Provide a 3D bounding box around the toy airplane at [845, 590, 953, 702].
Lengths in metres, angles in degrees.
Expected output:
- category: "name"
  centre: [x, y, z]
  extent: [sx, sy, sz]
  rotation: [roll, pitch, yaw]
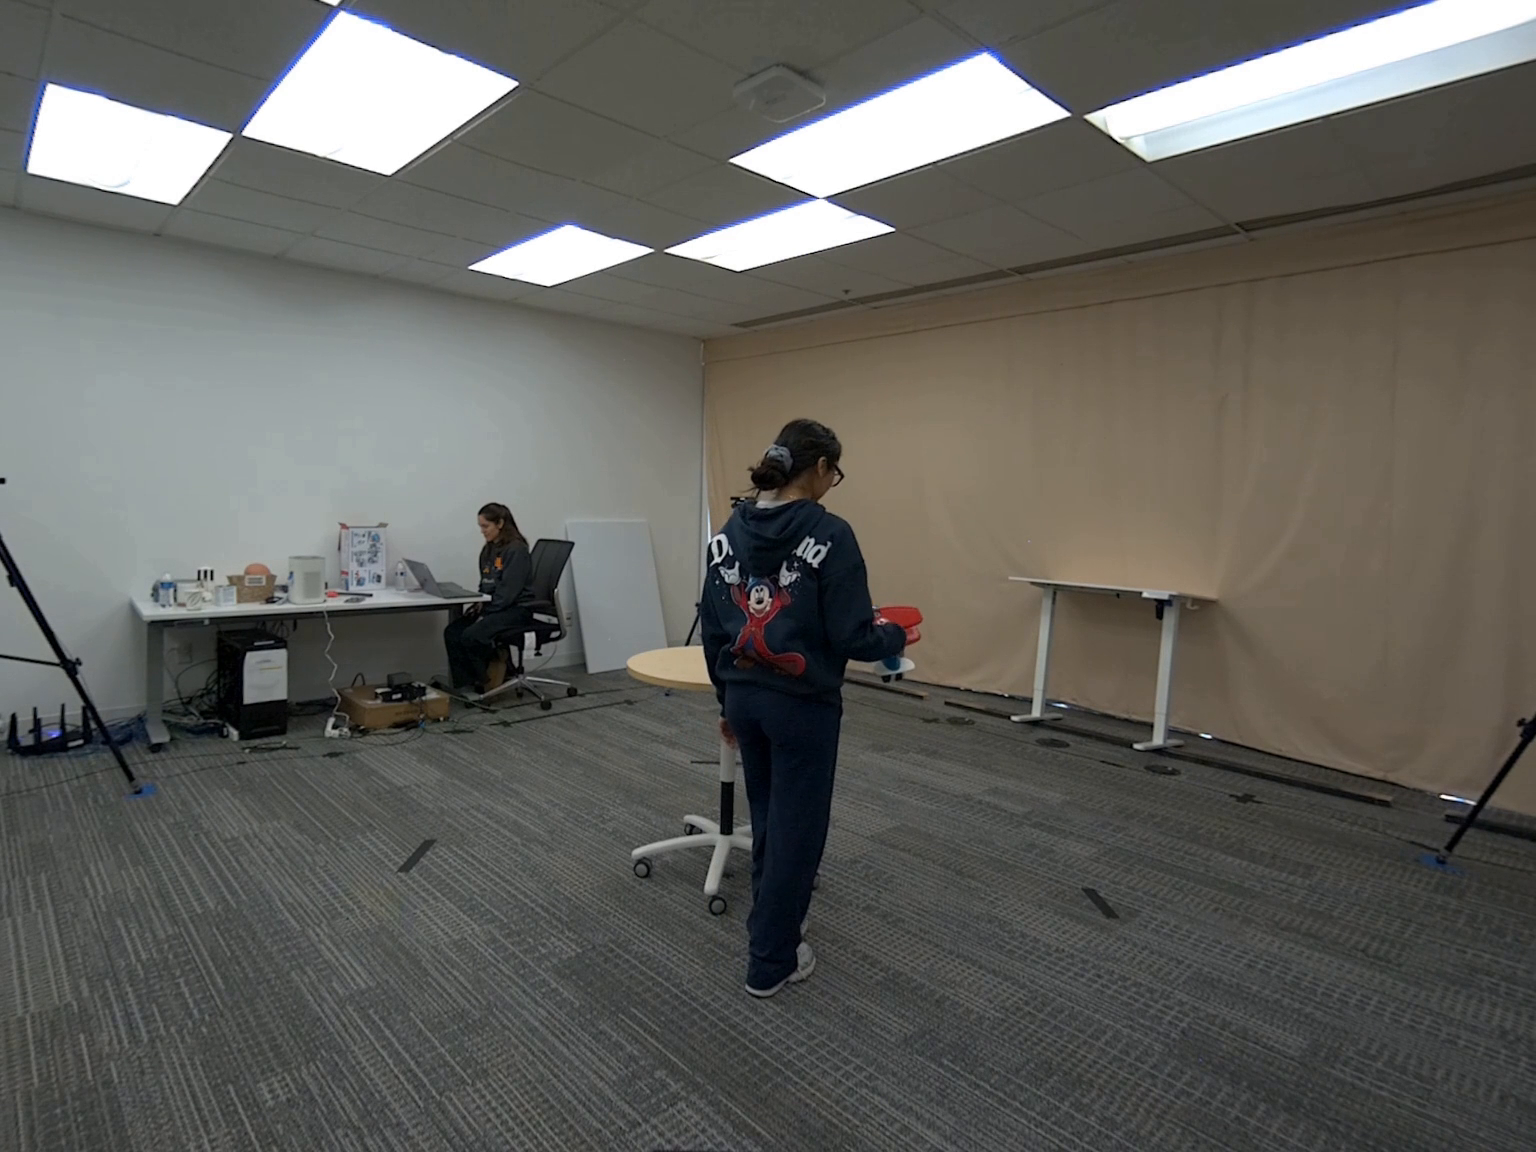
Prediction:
- category: "toy airplane"
  centre: [0.354, 0.198, 2.506]
  extent: [0.248, 0.153, 0.267]
  rotation: [-17, 31, -25]
